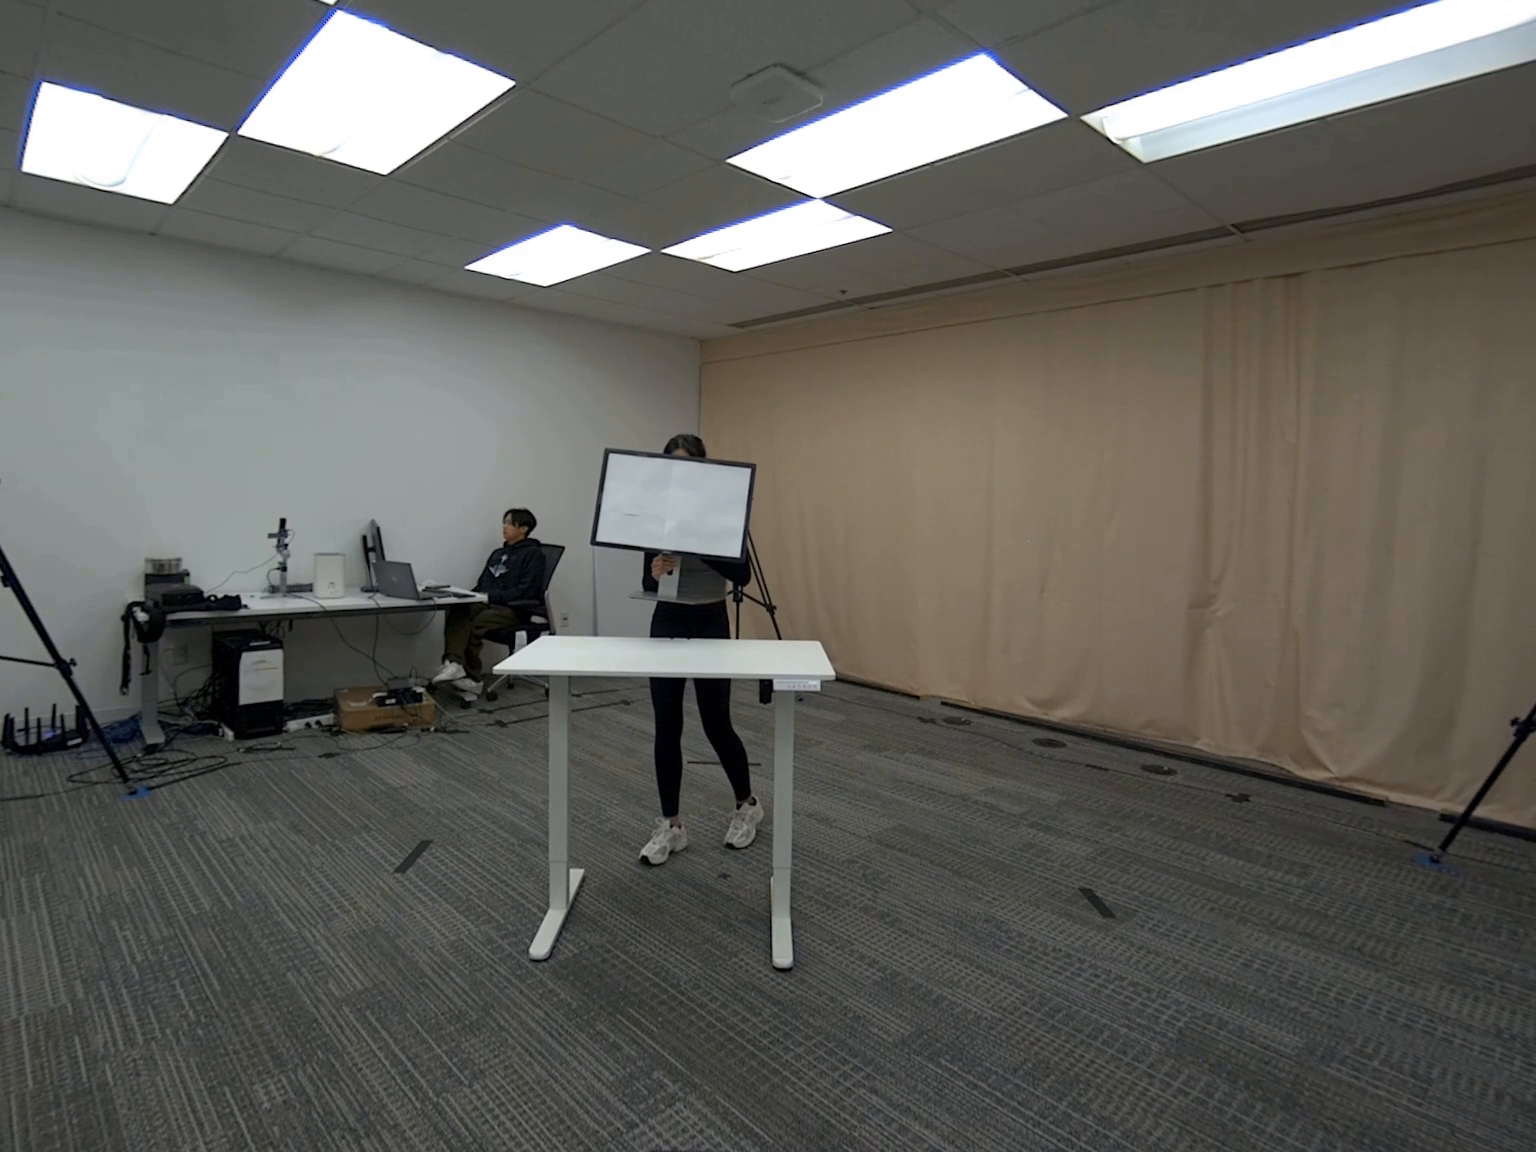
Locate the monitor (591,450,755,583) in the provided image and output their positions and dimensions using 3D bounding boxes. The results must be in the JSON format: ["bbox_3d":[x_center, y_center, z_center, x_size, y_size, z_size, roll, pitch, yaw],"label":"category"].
[{"bbox_3d":[-0.356,-0.170,3.069,0.540,0.522,0.187,5,2,3],"label":"monitor"}]
